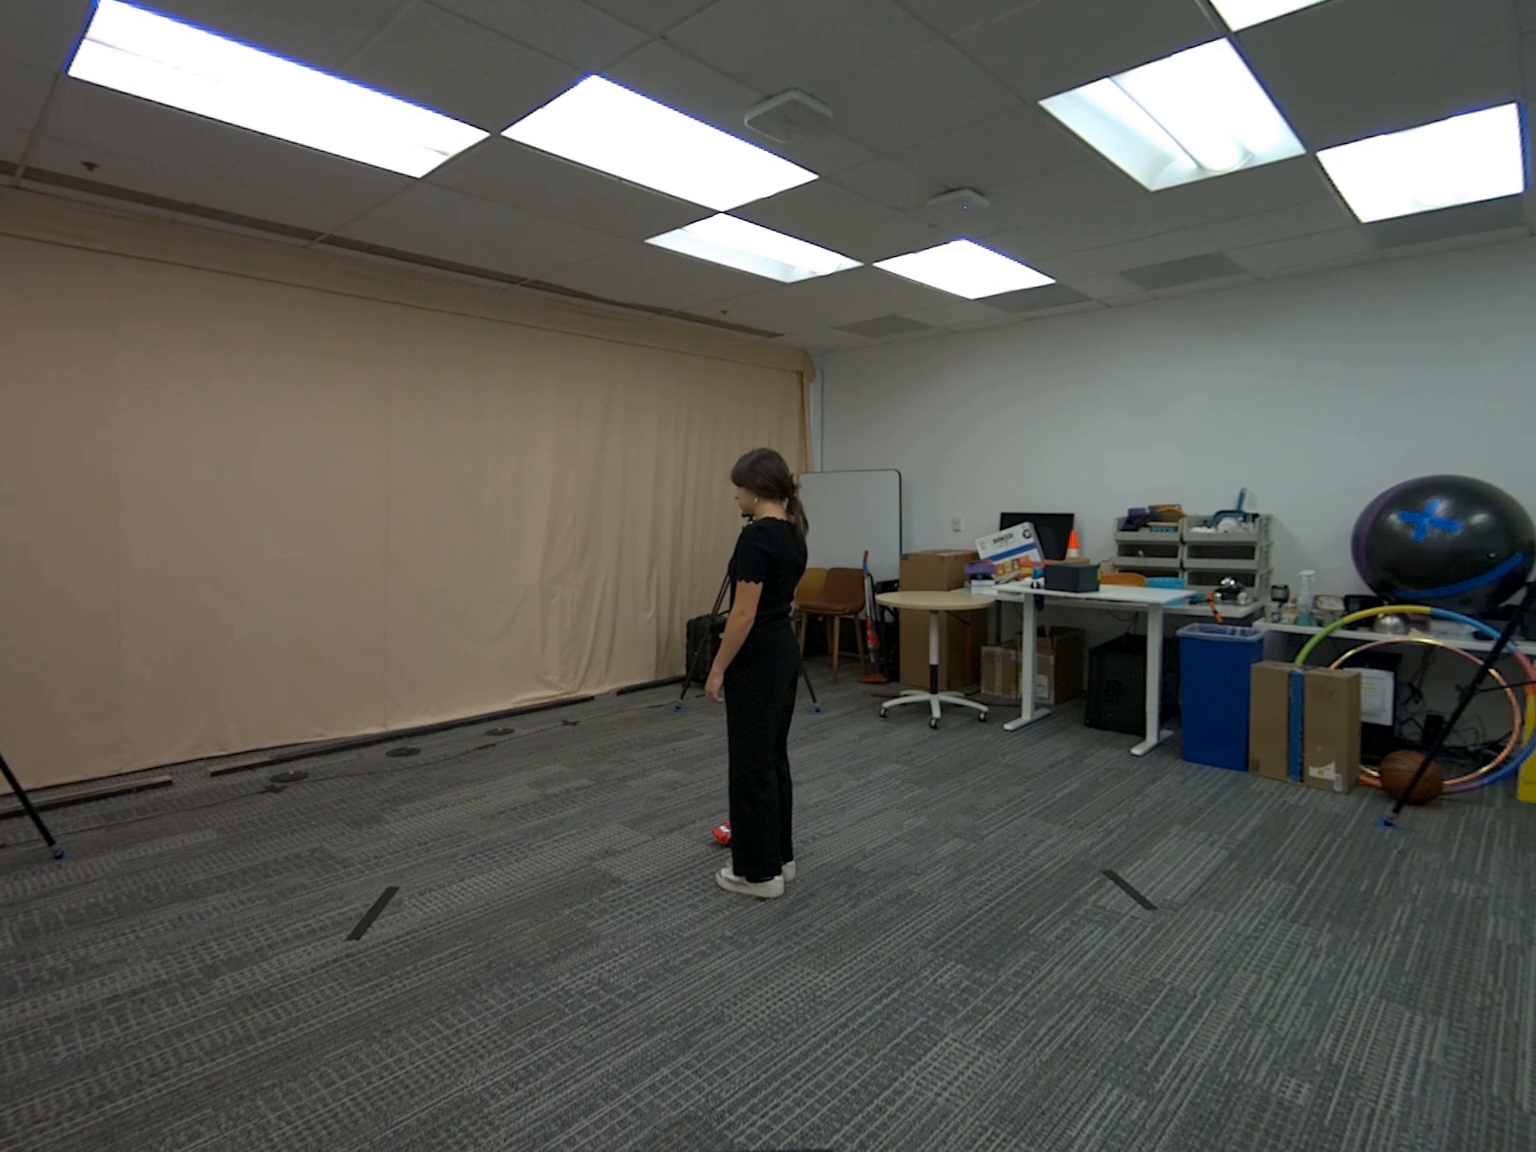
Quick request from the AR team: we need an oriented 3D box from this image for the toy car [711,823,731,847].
[{"bbox_3d":[-0.113,1.068,3.489,0.249,0.083,0.133,10,-1,-21],"label":"toy car"}]
